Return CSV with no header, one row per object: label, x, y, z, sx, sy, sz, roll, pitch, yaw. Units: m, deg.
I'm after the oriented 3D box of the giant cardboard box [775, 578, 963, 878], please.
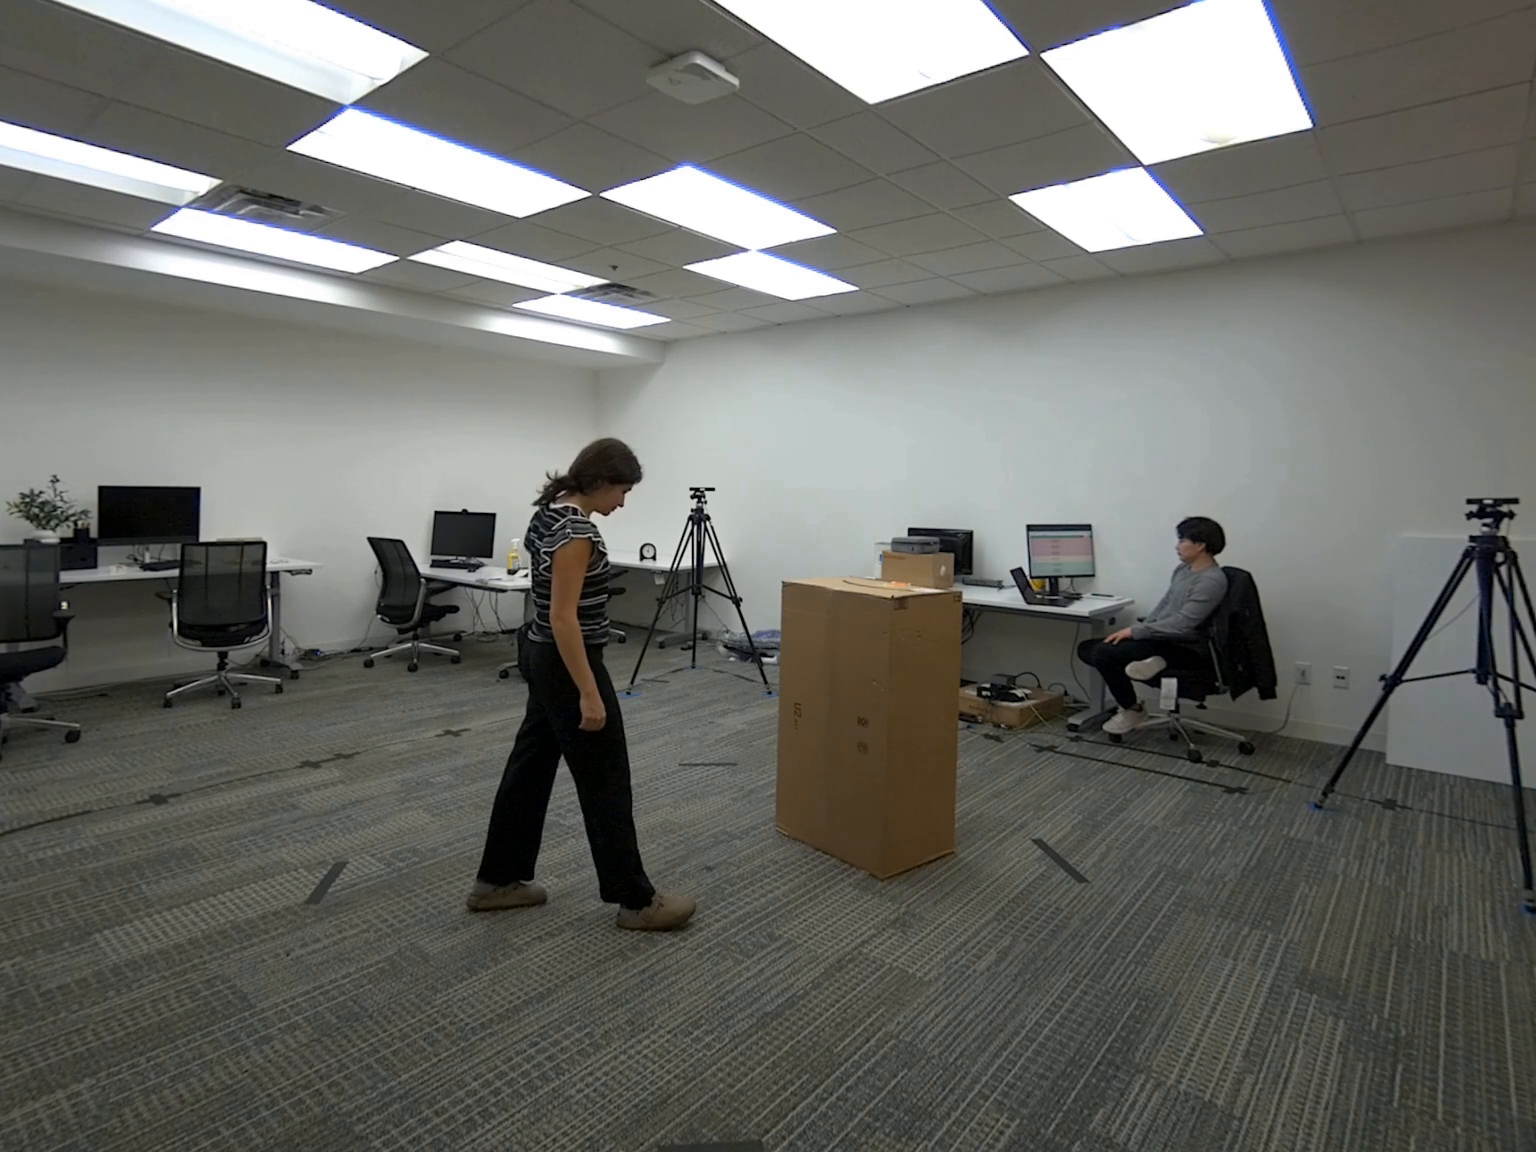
giant cardboard box,0.382,0.544,3.376,0.413,1.023,0.597,-1,4,-42
